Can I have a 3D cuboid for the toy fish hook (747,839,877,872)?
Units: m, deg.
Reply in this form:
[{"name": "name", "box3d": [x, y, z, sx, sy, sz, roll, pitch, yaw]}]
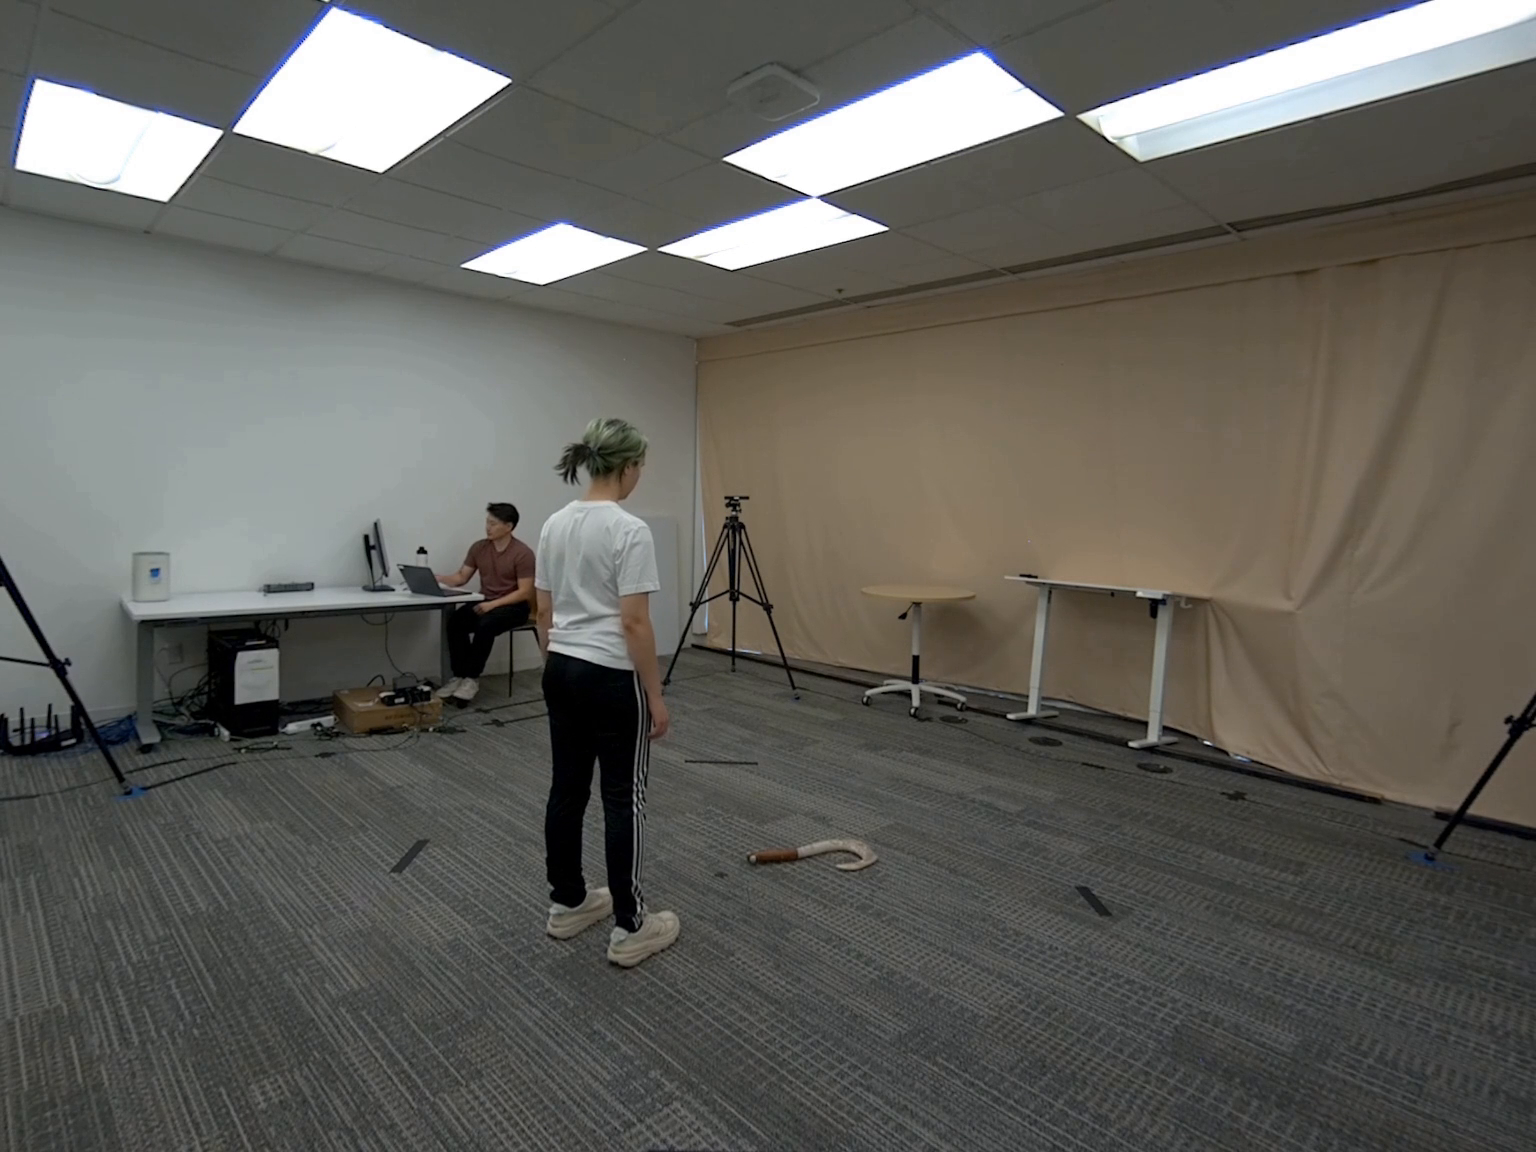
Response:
[{"name": "toy fish hook", "box3d": [0.168, 1.076, 3.222, 0.499, 0.048, 0.228, -1, 5, -19]}]
